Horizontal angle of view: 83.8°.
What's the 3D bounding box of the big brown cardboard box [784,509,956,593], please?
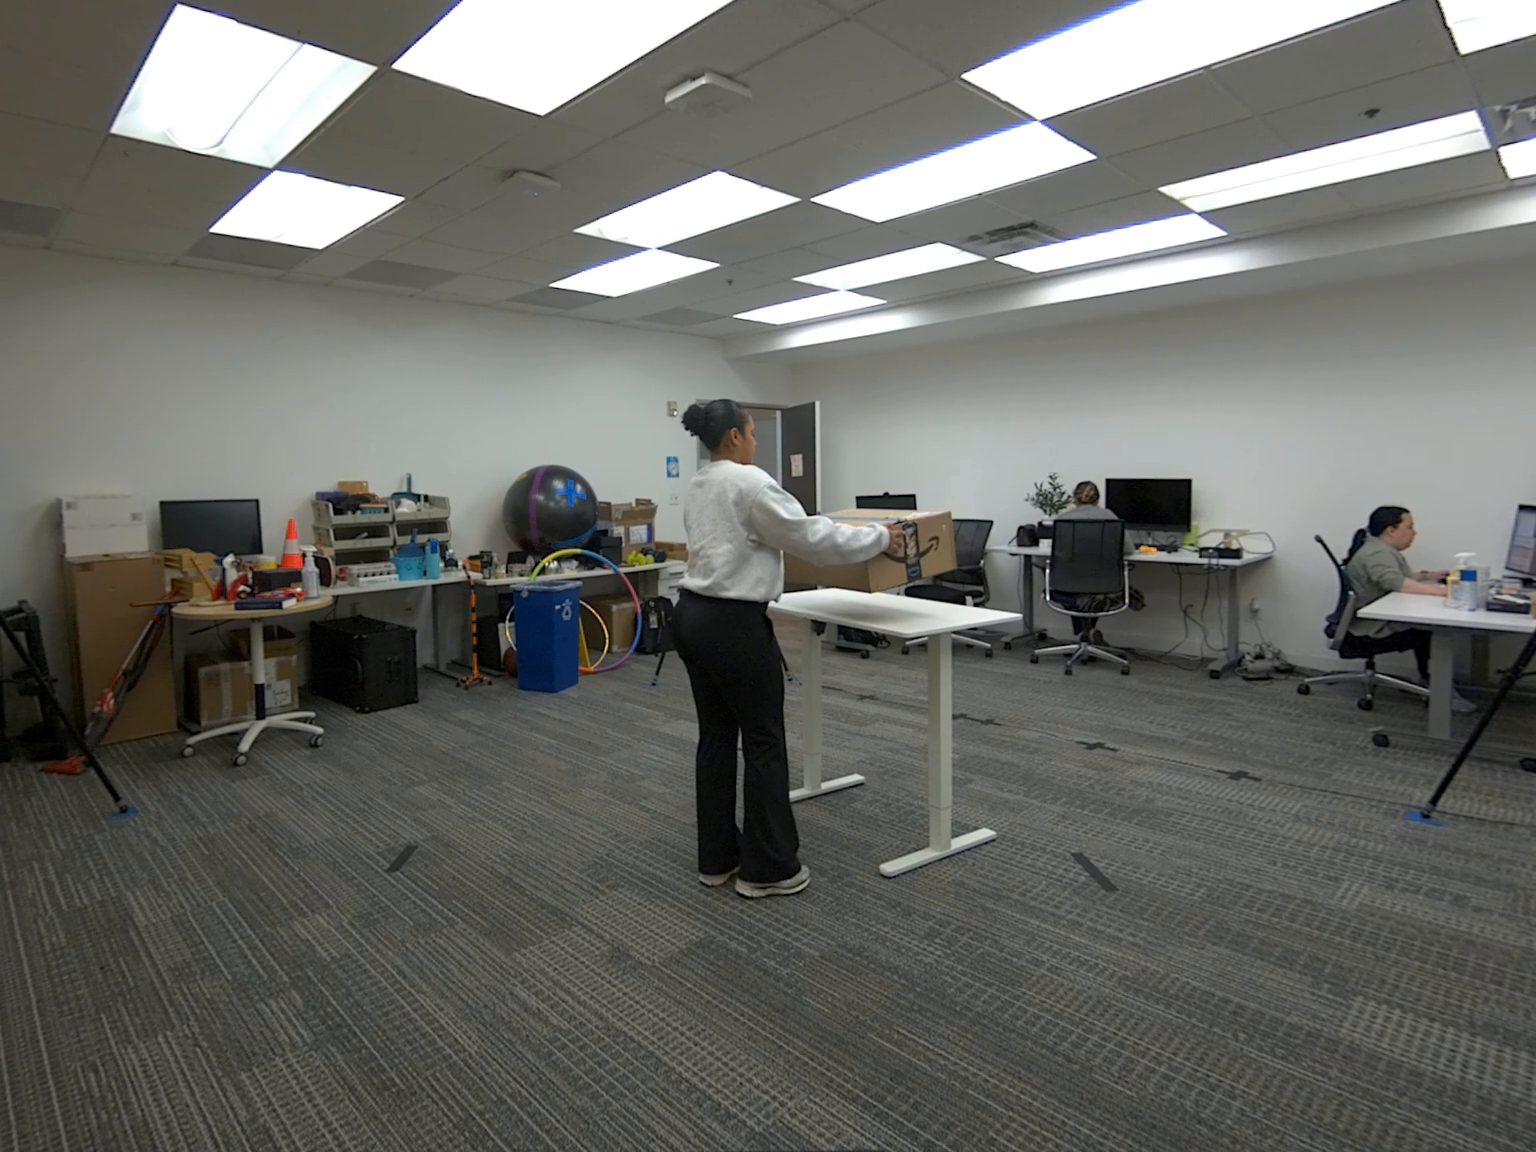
[{"bbox_3d":[0.352,-0.109,3.234,0.409,0.231,0.605,-14,11,-31],"label":"big brown cardboard box"}]
